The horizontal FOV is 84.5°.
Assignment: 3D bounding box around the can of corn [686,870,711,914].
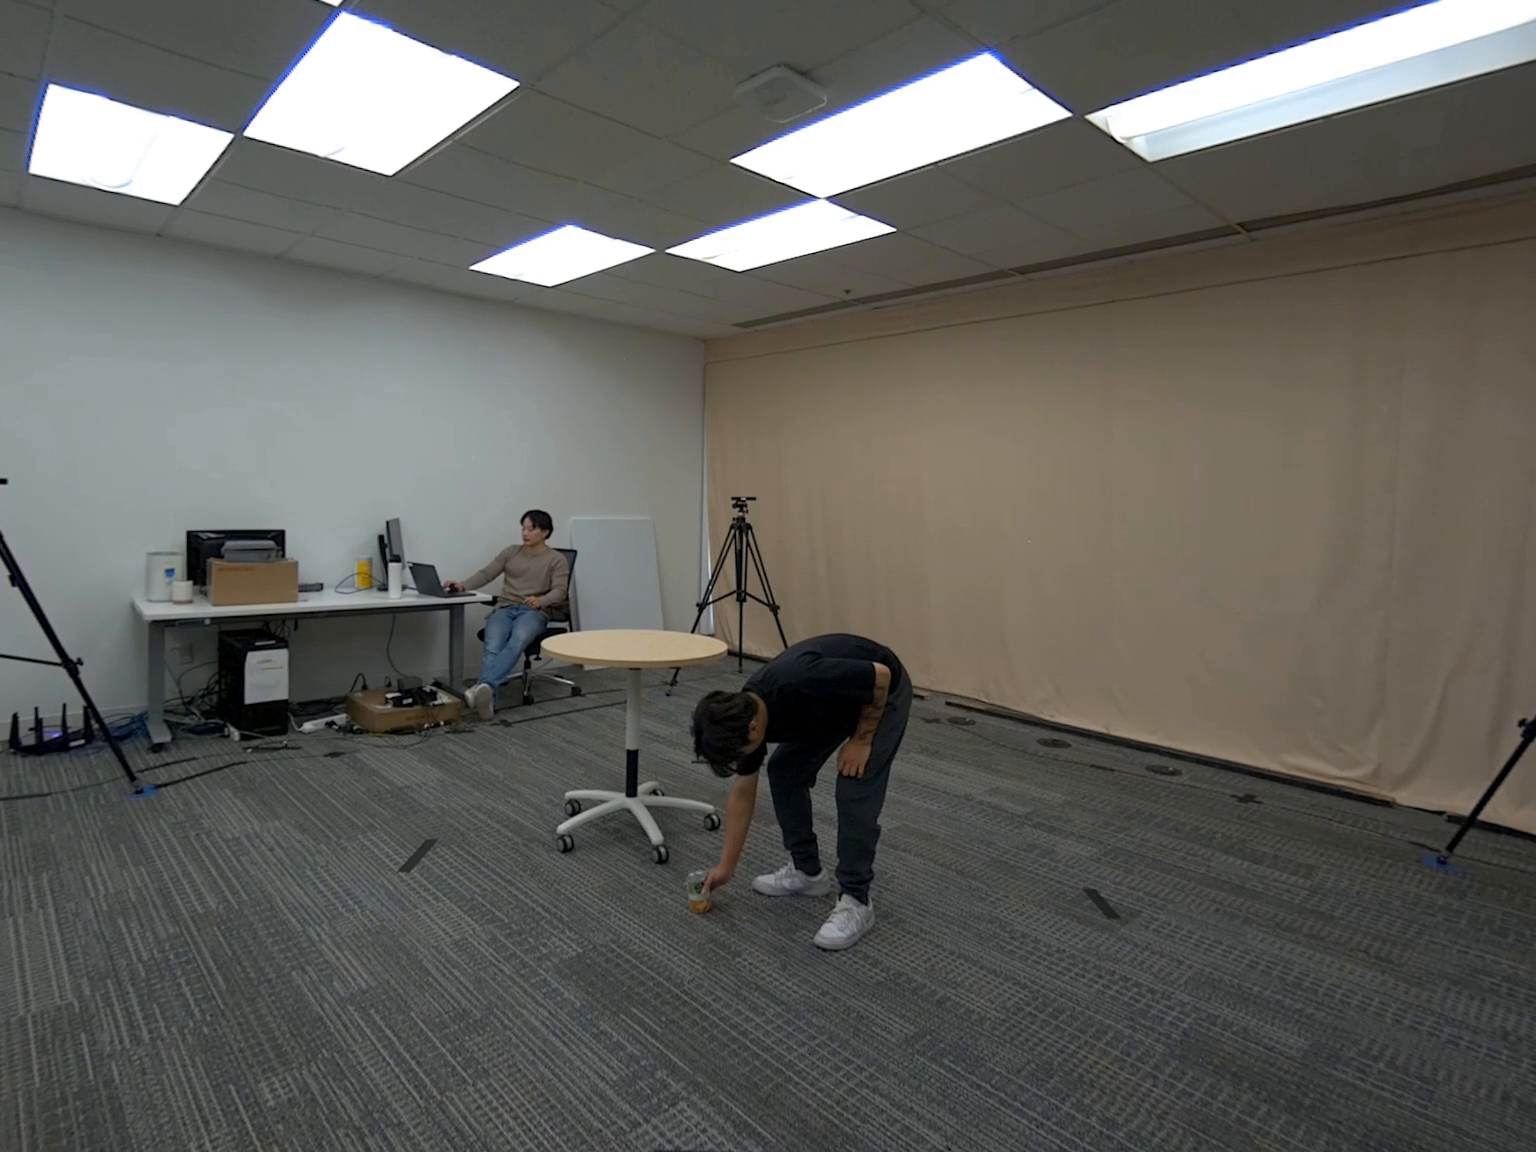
[{"bbox_3d":[-0.239,1.069,2.845,0.074,0.110,0.074,-6,5,-1],"label":"can of corn"}]
